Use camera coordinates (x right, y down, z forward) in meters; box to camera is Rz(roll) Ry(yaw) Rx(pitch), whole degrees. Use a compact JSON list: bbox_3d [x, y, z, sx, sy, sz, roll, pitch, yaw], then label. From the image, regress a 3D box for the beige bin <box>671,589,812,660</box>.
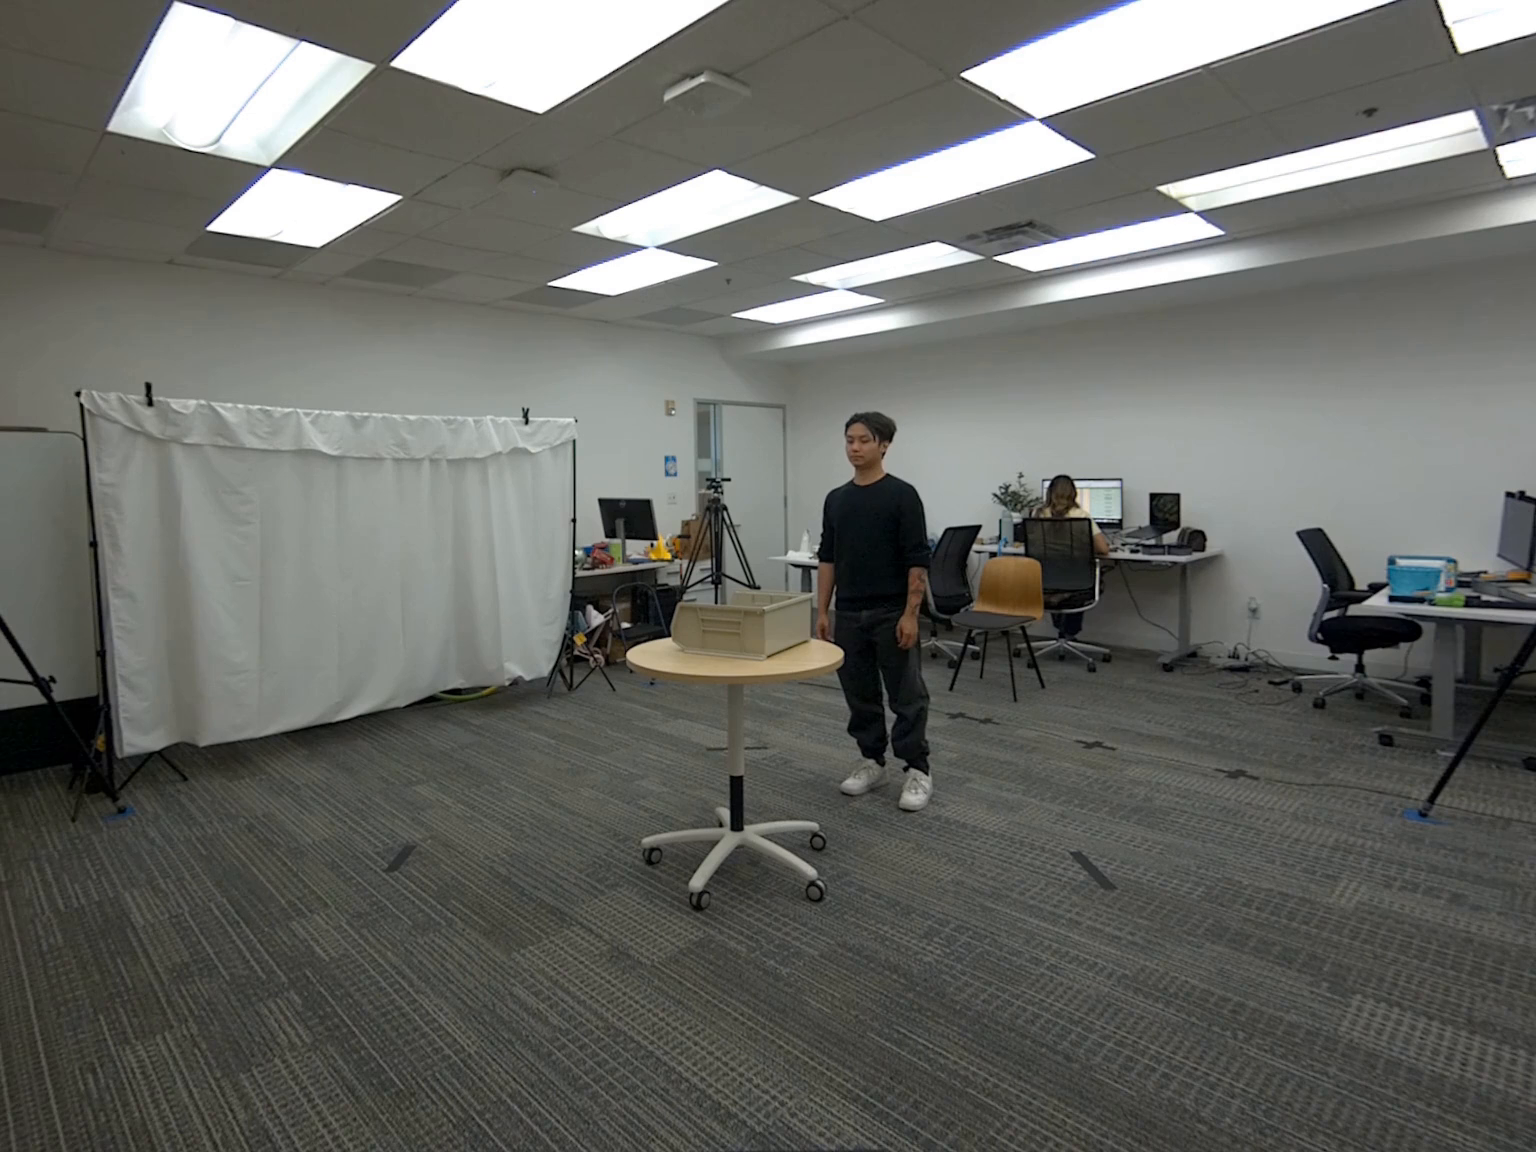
[{"bbox_3d":[-0.079,0.166,3.119,0.387,0.188,0.413,4,7,27],"label":"beige bin"}]
